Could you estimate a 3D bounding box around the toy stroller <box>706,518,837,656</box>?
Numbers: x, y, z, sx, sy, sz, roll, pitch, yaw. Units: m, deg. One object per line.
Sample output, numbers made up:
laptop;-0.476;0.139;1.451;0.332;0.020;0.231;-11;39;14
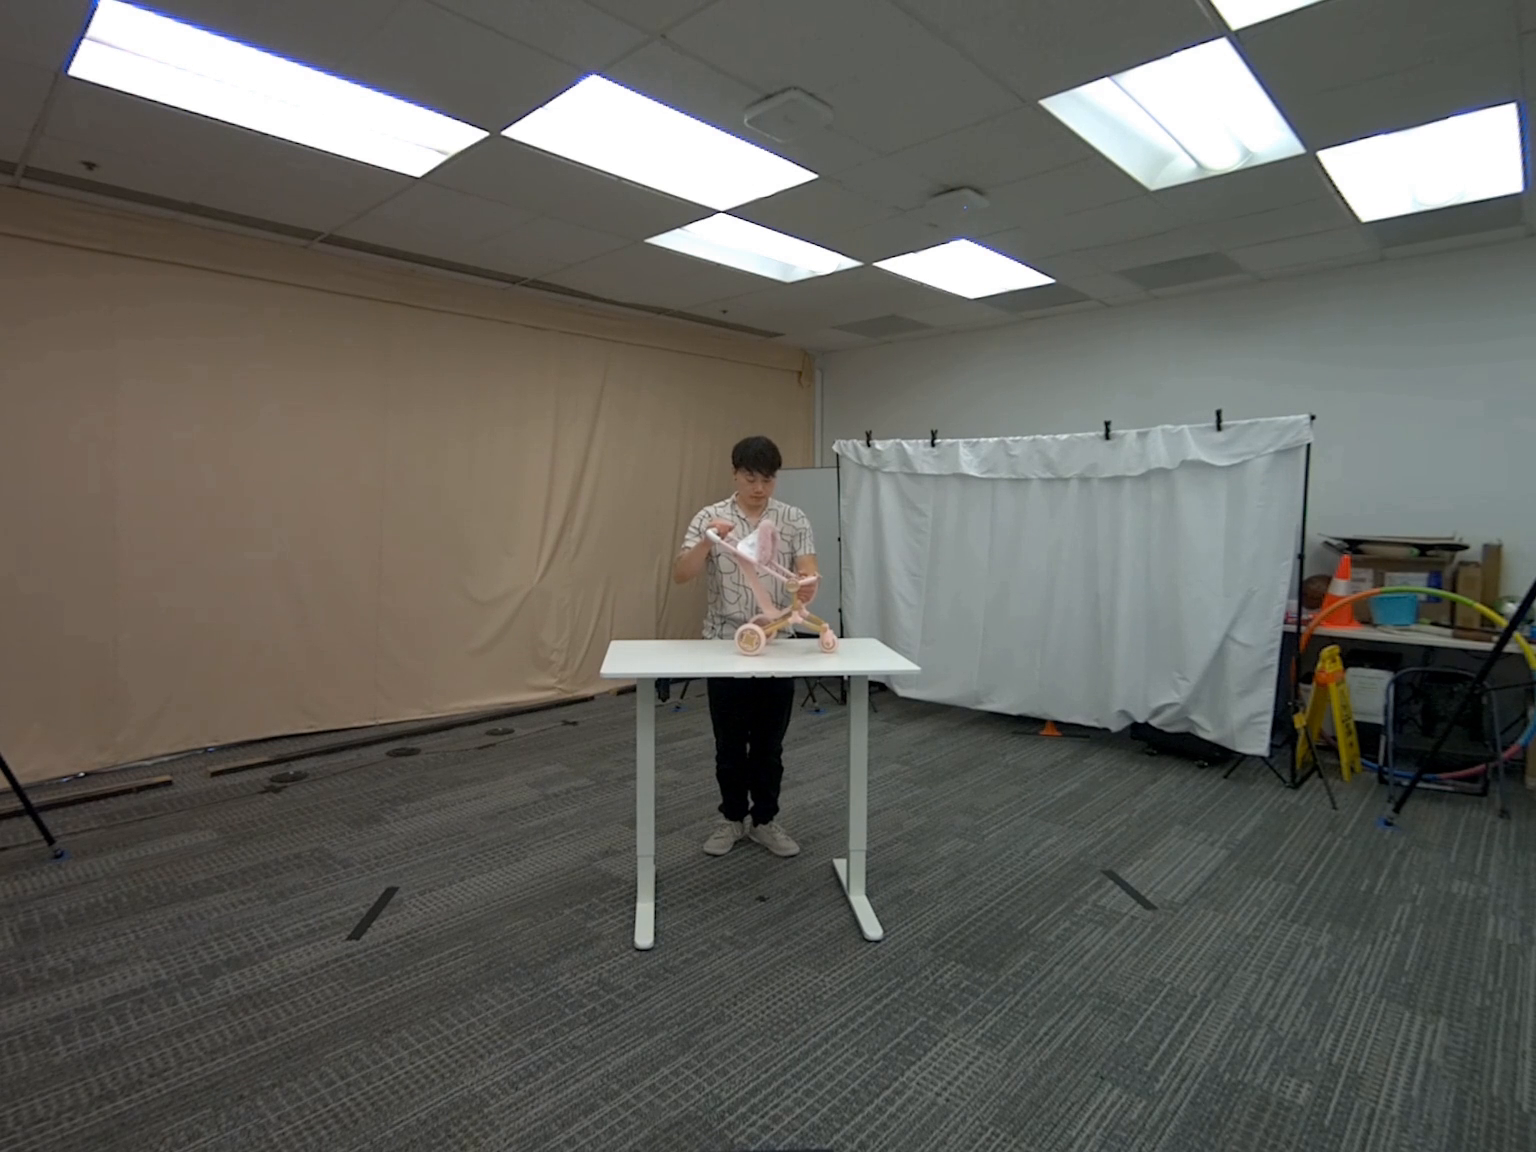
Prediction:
toy stroller;0.020;0.039;2.958;0.346;0.536;0.277;-15;-2;17
